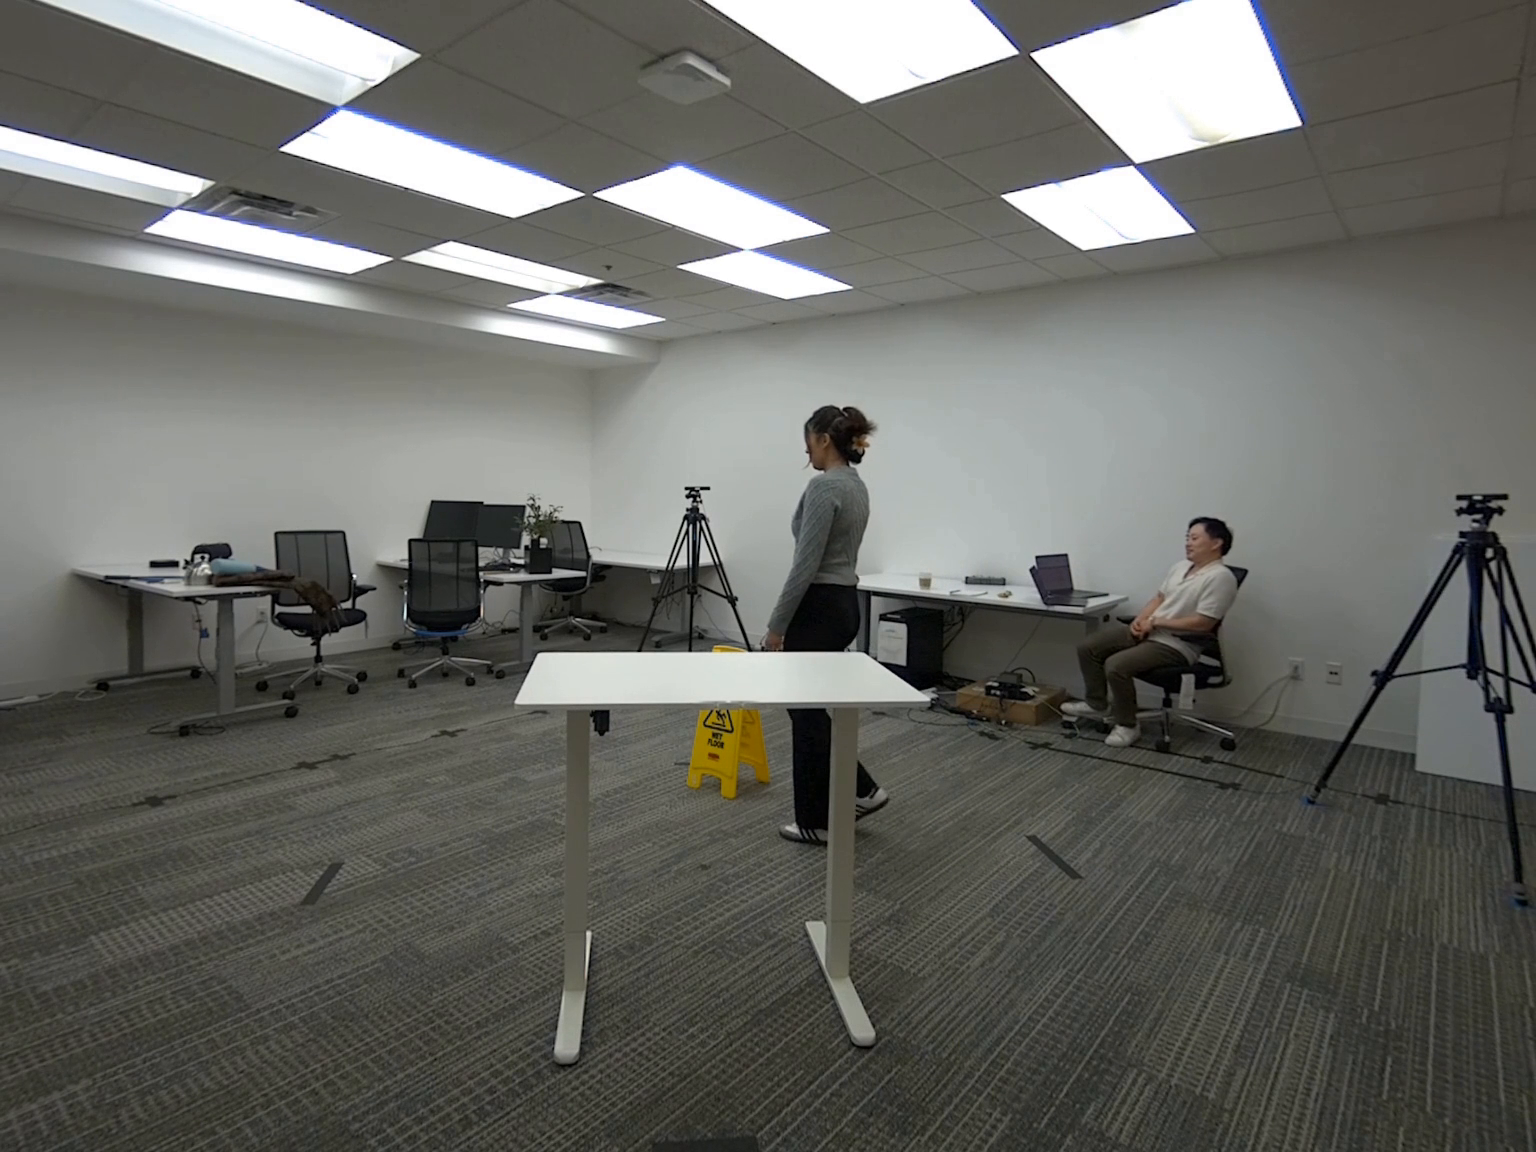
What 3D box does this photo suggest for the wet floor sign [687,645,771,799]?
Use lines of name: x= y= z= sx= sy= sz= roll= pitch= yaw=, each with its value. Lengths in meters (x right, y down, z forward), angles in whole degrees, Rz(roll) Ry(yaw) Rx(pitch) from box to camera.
wet floor sign: x=-0.190 y=0.658 z=3.995 sx=0.291 sy=0.644 sz=0.281 roll=4 pitch=4 yaw=36
